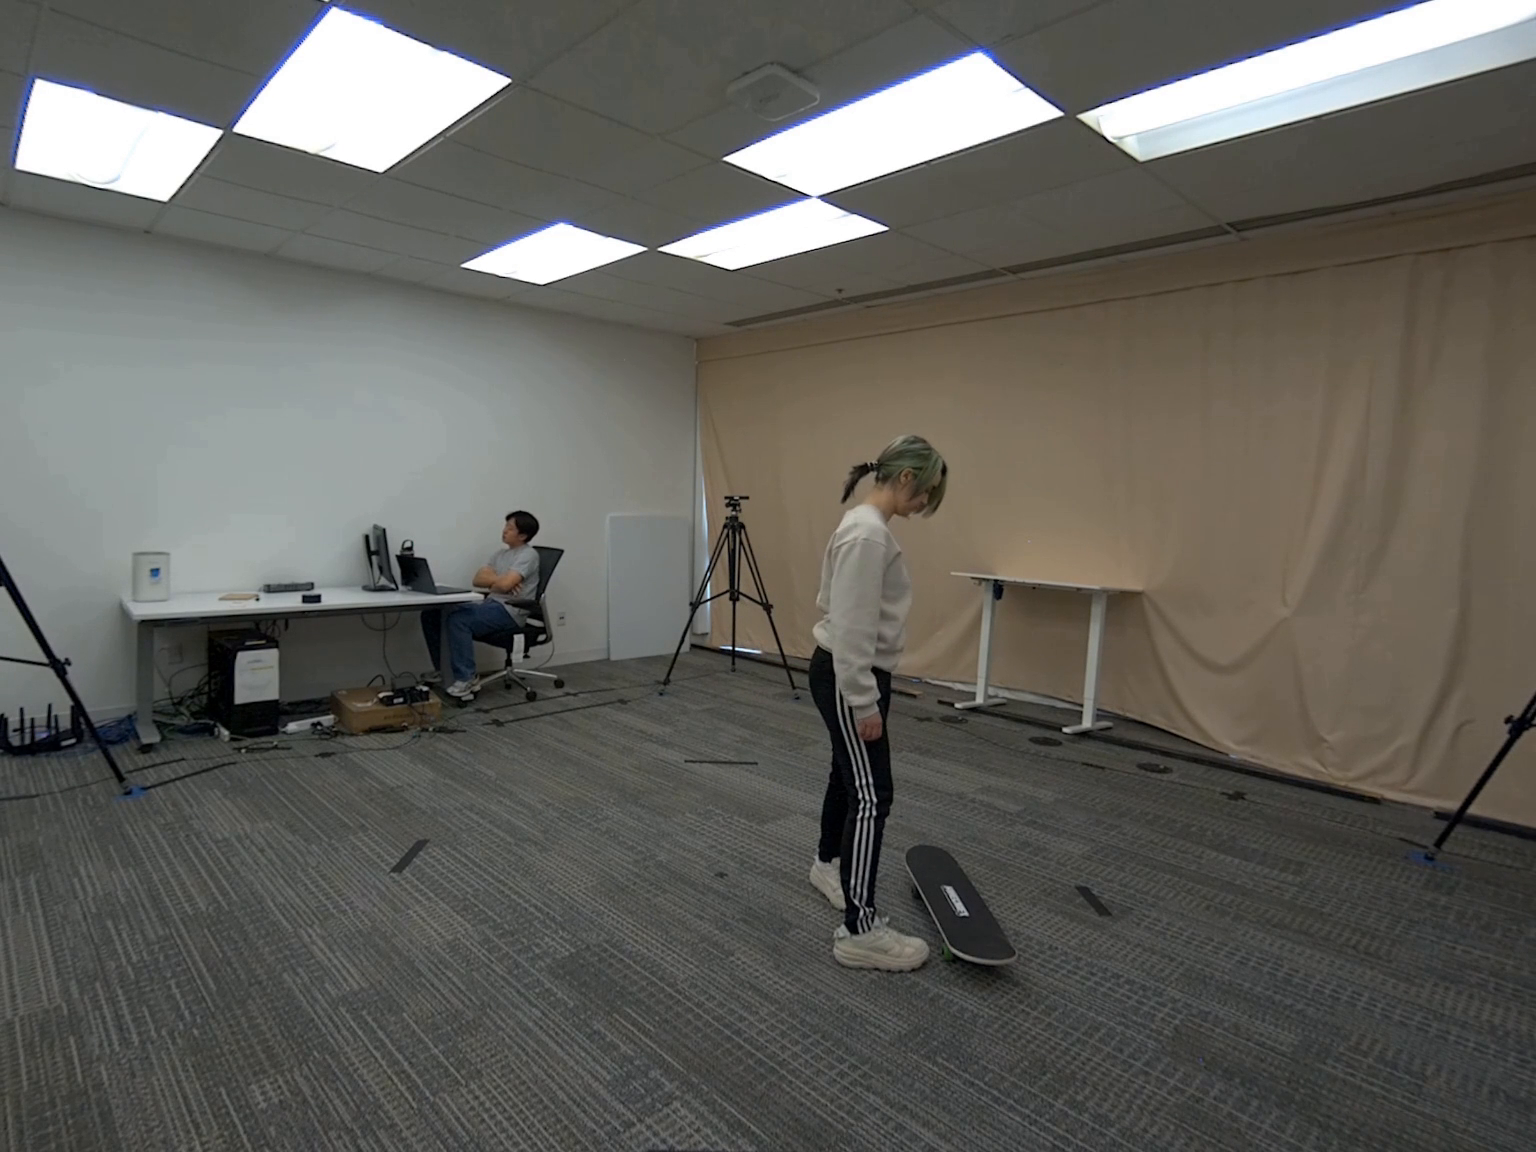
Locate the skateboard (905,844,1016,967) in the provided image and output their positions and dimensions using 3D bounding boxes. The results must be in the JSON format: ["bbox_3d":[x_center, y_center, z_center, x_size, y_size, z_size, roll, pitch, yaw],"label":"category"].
[{"bbox_3d":[0.601,1.091,2.773,0.193,0.110,0.790,3,6,-4],"label":"skateboard"}]
